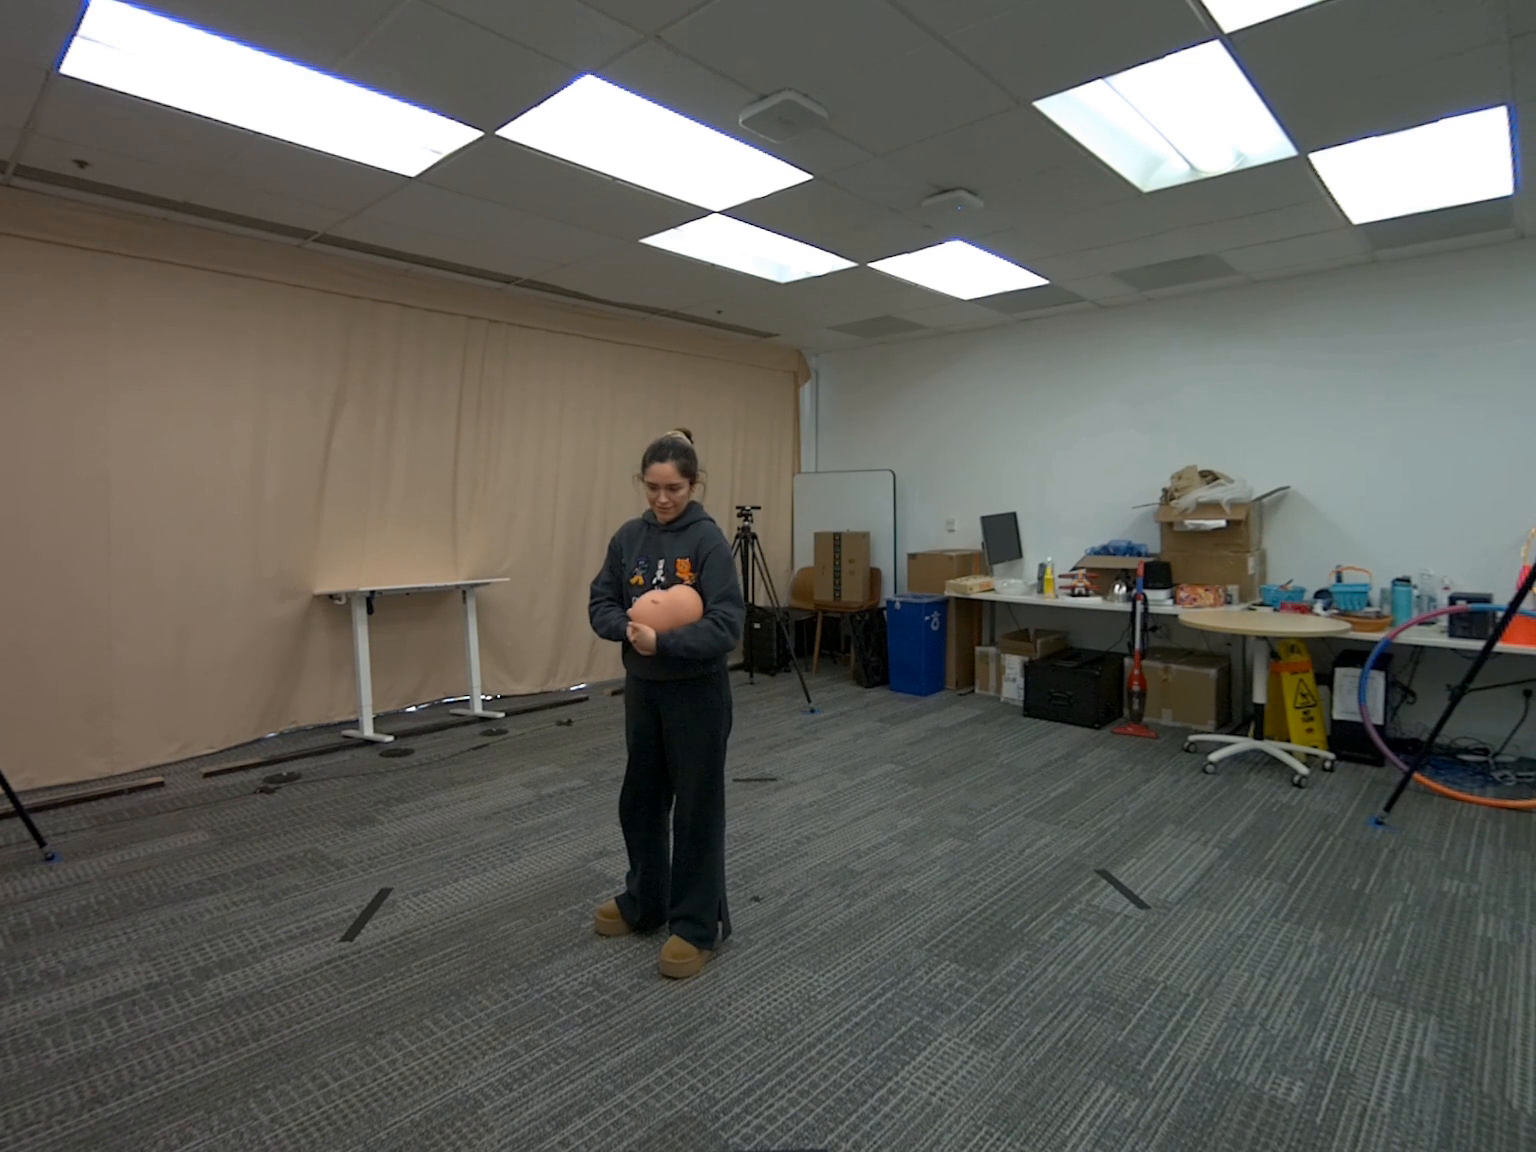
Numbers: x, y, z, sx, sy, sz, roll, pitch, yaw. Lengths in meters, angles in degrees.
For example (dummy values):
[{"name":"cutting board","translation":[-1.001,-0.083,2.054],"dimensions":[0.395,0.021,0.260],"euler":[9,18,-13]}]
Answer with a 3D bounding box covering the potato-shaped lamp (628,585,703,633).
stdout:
[{"name":"potato-shaped lamp","translation":[-0.276,0.105,2.469],"dimensions":[0.200,0.172,0.162],"euler":[-33,-3,16]}]
